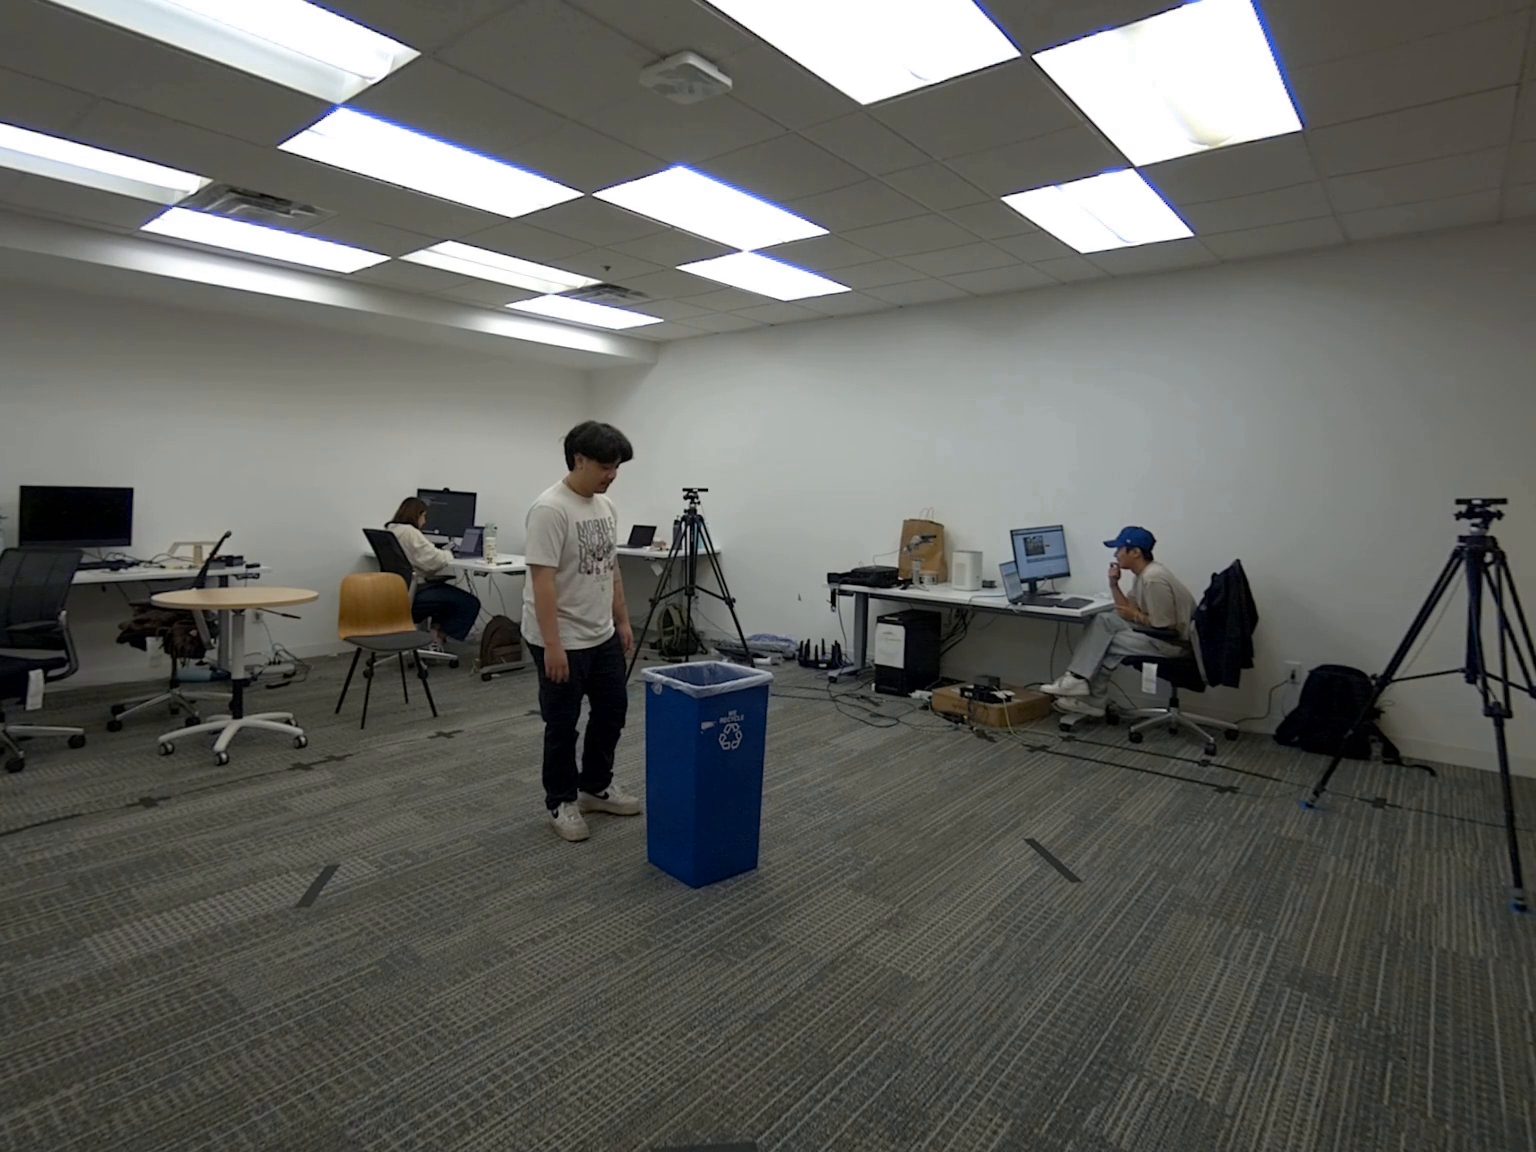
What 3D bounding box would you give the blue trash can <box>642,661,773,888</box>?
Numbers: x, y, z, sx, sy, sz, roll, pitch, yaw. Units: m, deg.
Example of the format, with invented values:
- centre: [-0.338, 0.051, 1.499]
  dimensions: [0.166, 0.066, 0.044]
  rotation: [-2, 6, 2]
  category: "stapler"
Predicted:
- centre: [-0.241, 0.706, 3.144]
  dimensions: [0.363, 0.711, 0.391]
  rotation: [-2, 4, -41]
  category: "blue trash can"
